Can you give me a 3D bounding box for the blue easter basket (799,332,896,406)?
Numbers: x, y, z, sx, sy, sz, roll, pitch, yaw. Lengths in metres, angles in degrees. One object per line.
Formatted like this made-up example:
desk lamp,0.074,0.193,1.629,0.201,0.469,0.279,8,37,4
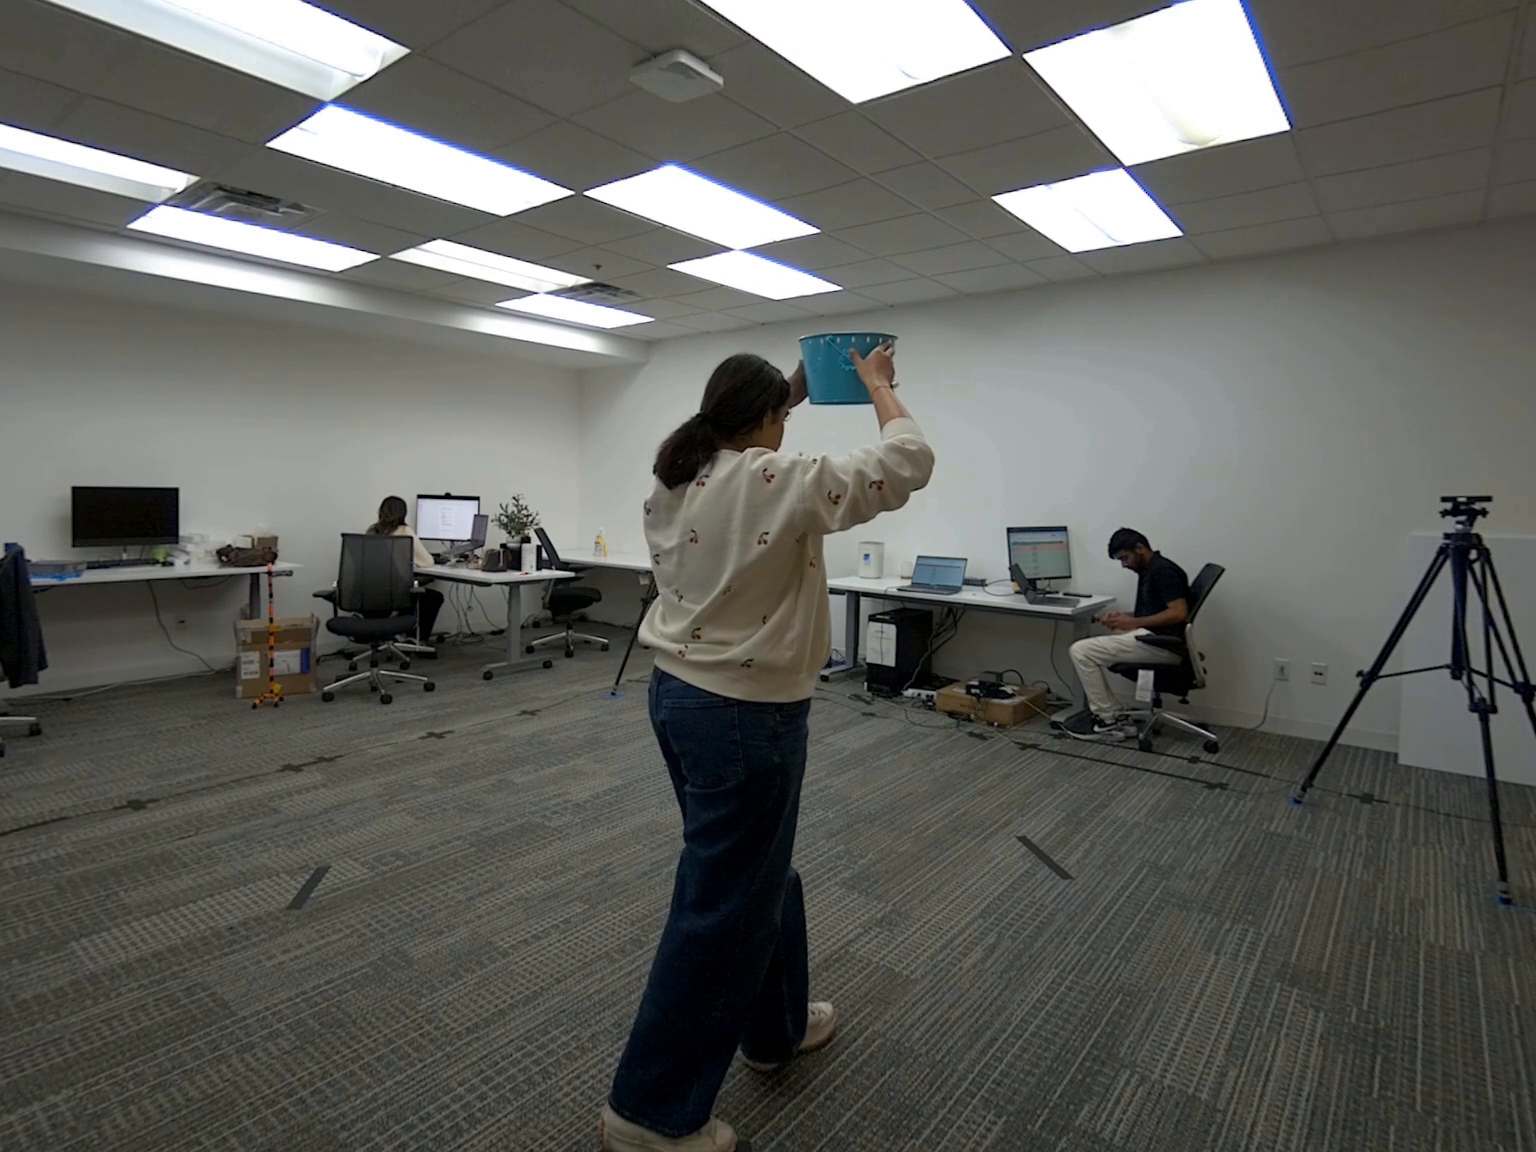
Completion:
blue easter basket,0.190,-0.489,2.000,0.243,0.155,0.246,0,8,-2
